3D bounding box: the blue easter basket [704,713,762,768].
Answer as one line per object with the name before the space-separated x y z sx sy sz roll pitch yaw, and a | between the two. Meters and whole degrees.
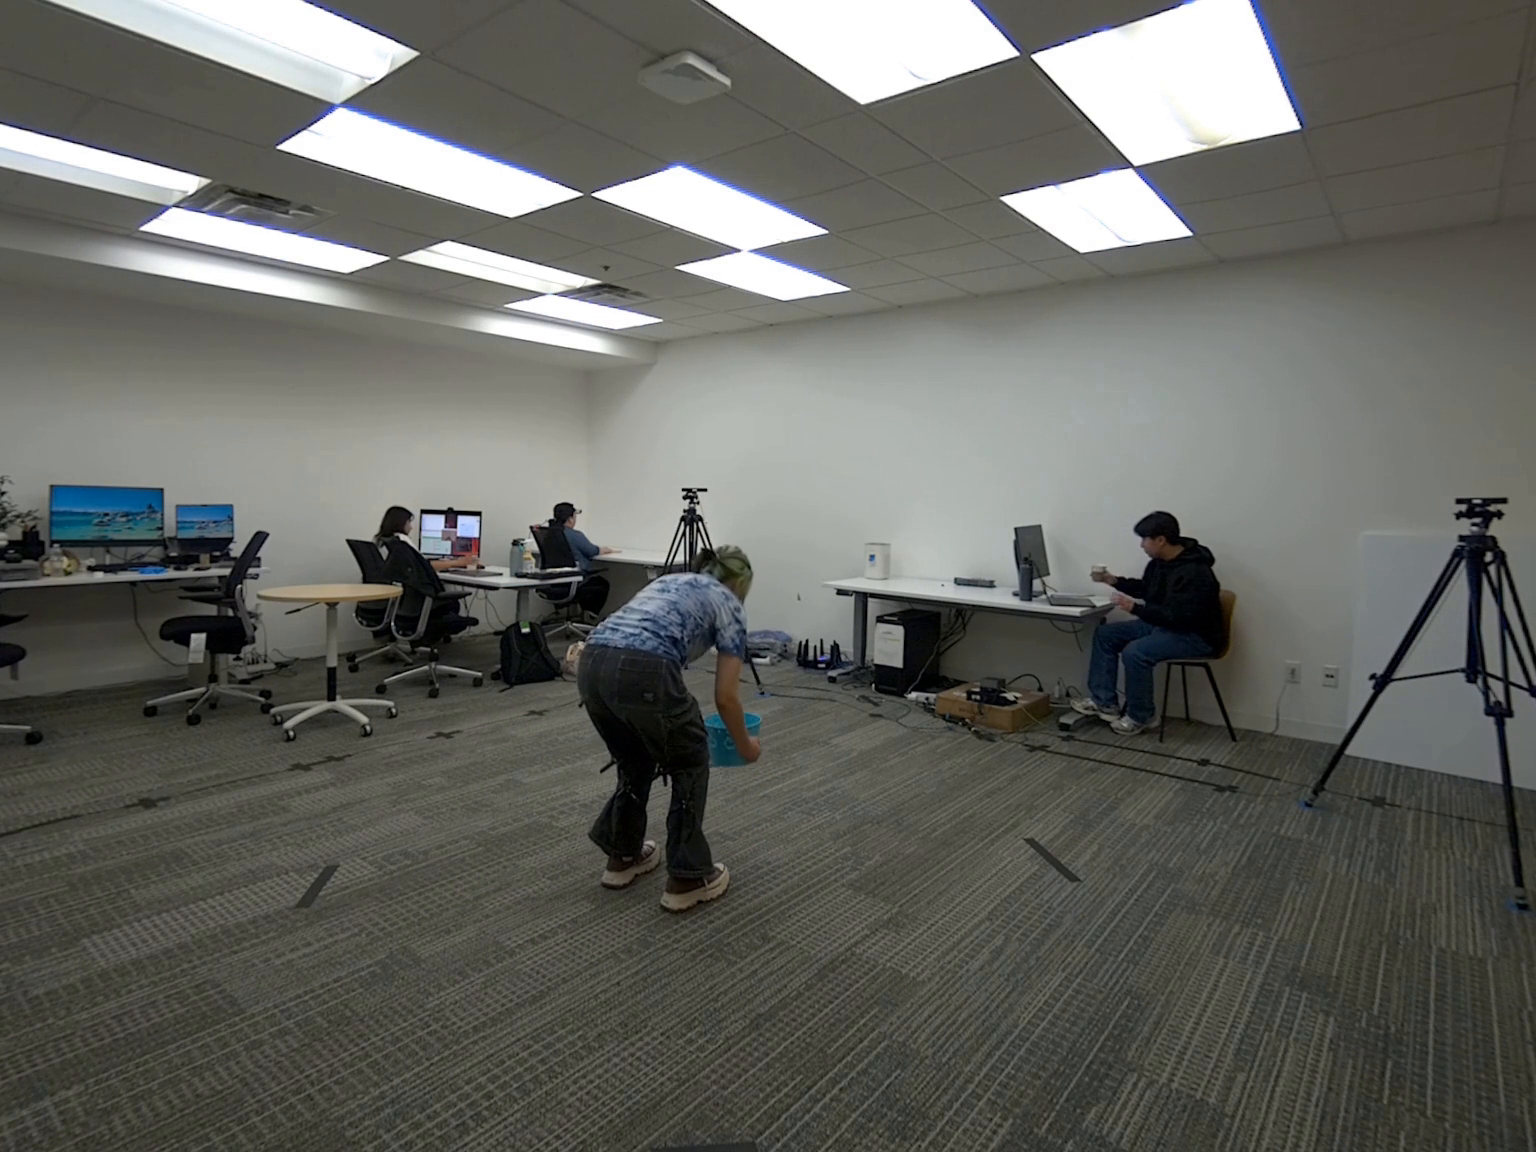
blue easter basket | -0.147 0.616 3.219 0.243 0.155 0.245 -3 5 -2
